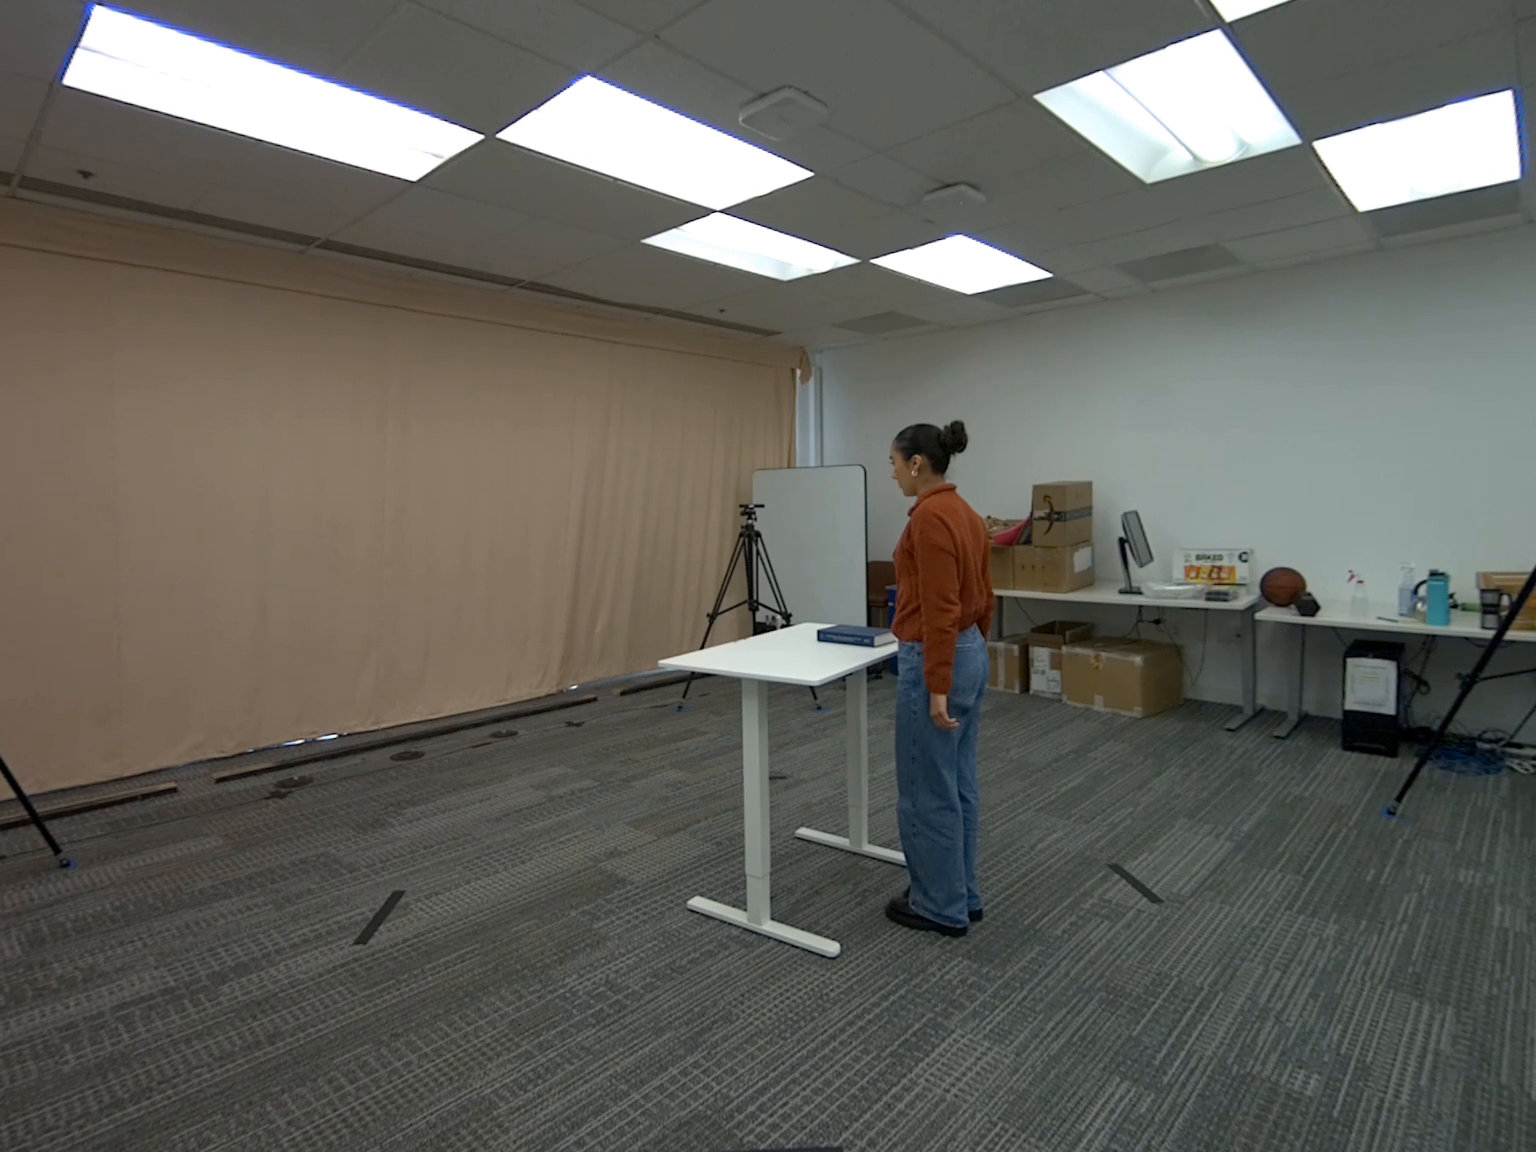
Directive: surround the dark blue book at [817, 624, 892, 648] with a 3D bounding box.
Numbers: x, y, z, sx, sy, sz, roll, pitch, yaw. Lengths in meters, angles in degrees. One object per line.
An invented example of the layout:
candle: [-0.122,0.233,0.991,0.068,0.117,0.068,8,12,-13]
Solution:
dark blue book: [0.333,0.223,3.095,0.253,0.045,0.159,3,7,39]
